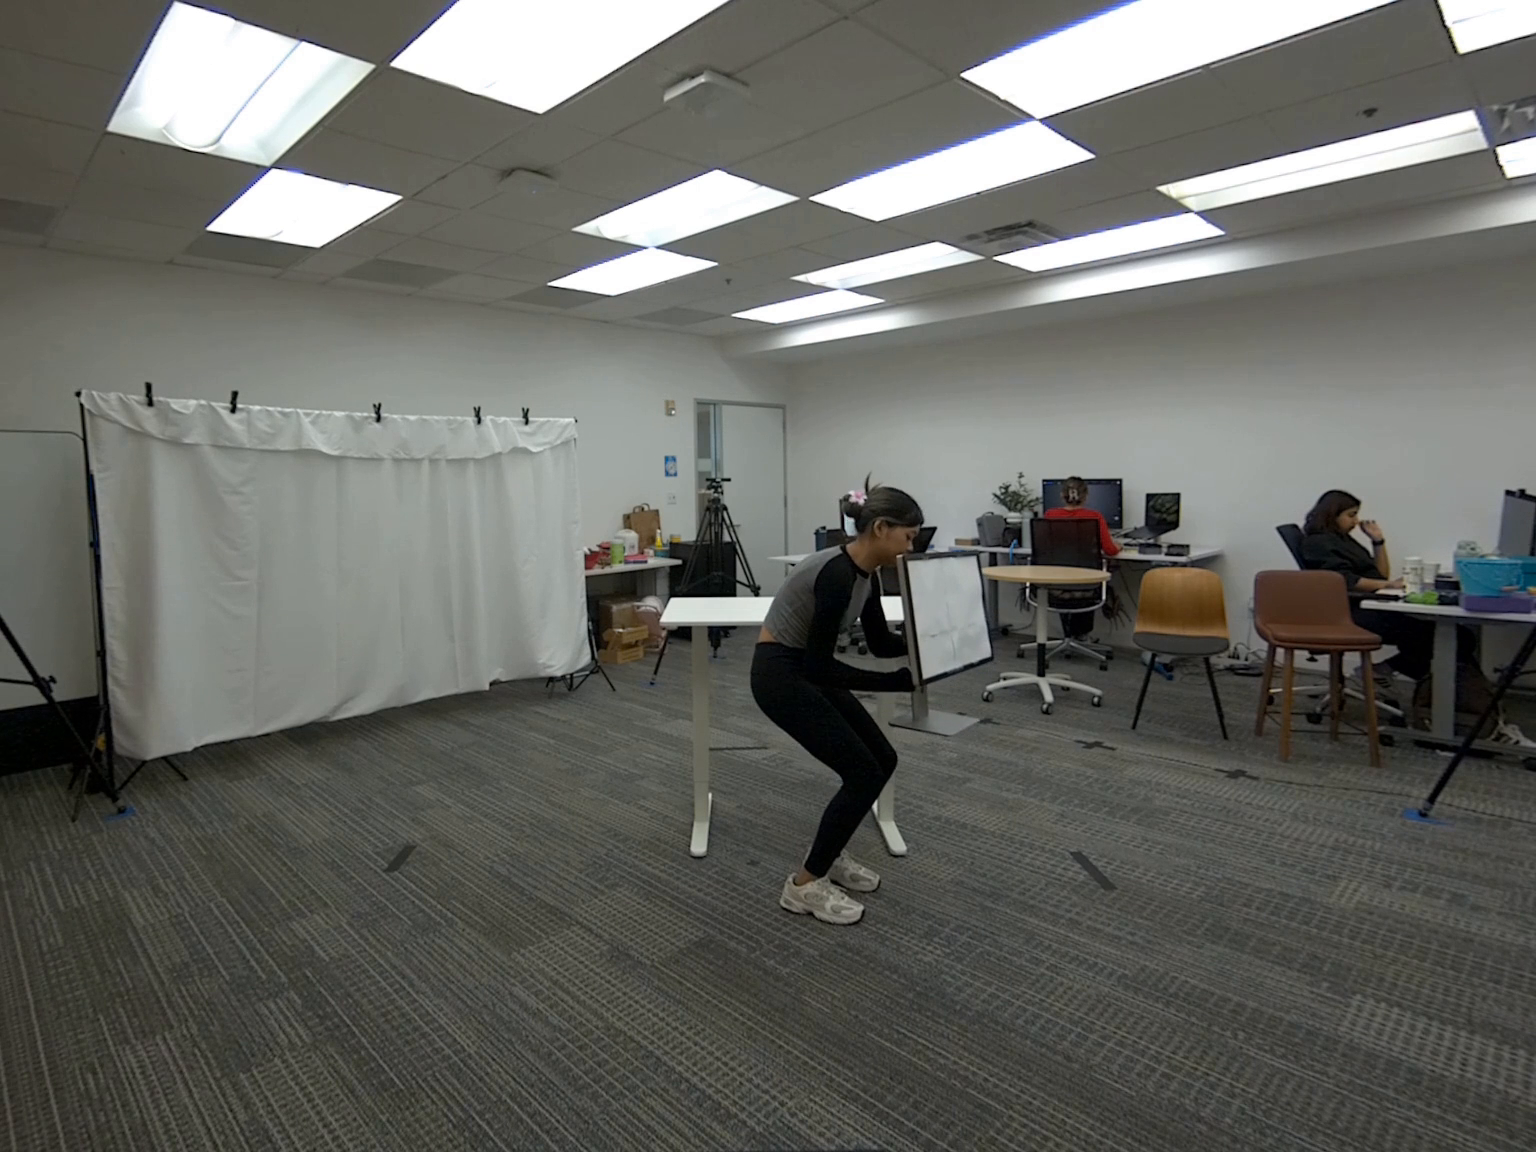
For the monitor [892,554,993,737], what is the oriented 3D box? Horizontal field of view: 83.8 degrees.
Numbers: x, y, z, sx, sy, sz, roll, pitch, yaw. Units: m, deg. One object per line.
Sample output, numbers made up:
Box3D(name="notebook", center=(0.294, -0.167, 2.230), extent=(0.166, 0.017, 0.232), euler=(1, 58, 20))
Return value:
Box3D(name="monitor", center=(0.510, 0.193, 2.595), extent=(0.193, 0.521, 0.525), euler=(4, 4, 35))
